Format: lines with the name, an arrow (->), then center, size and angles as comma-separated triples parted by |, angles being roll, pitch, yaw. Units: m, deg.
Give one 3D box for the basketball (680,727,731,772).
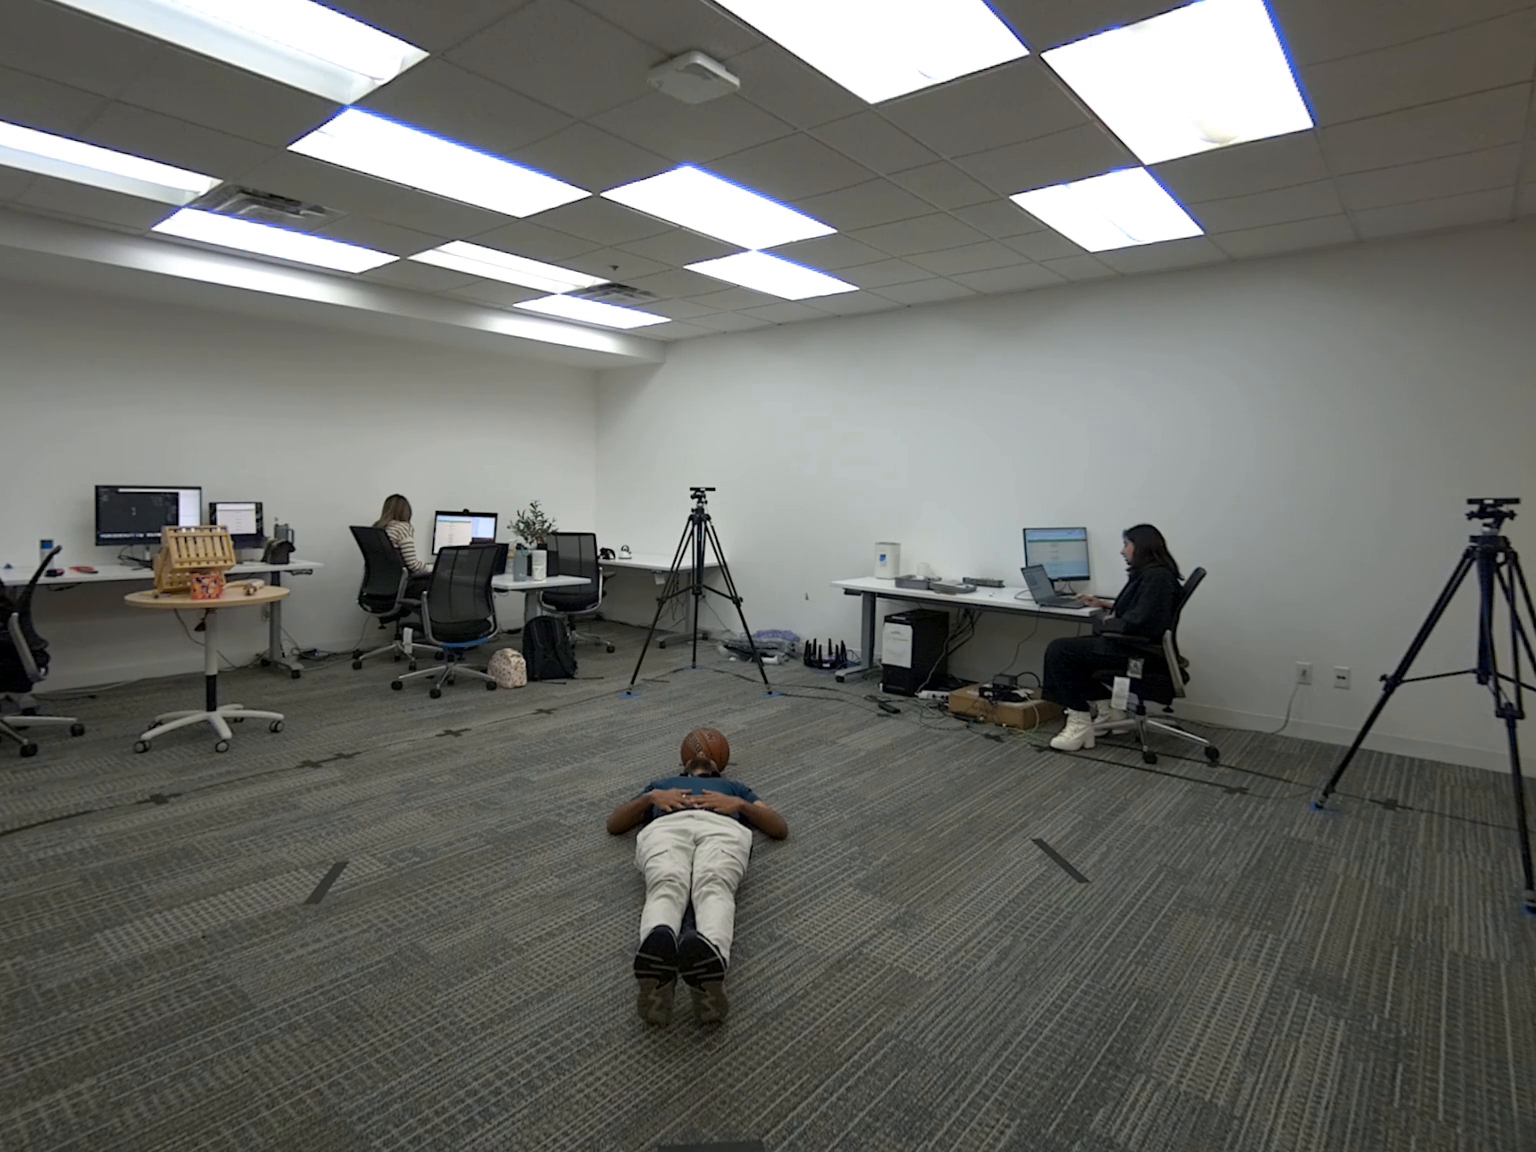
basketball -> -0.311, 0.848, 4.105 | 0.235, 0.235, 0.237 | 1, 4, -2
